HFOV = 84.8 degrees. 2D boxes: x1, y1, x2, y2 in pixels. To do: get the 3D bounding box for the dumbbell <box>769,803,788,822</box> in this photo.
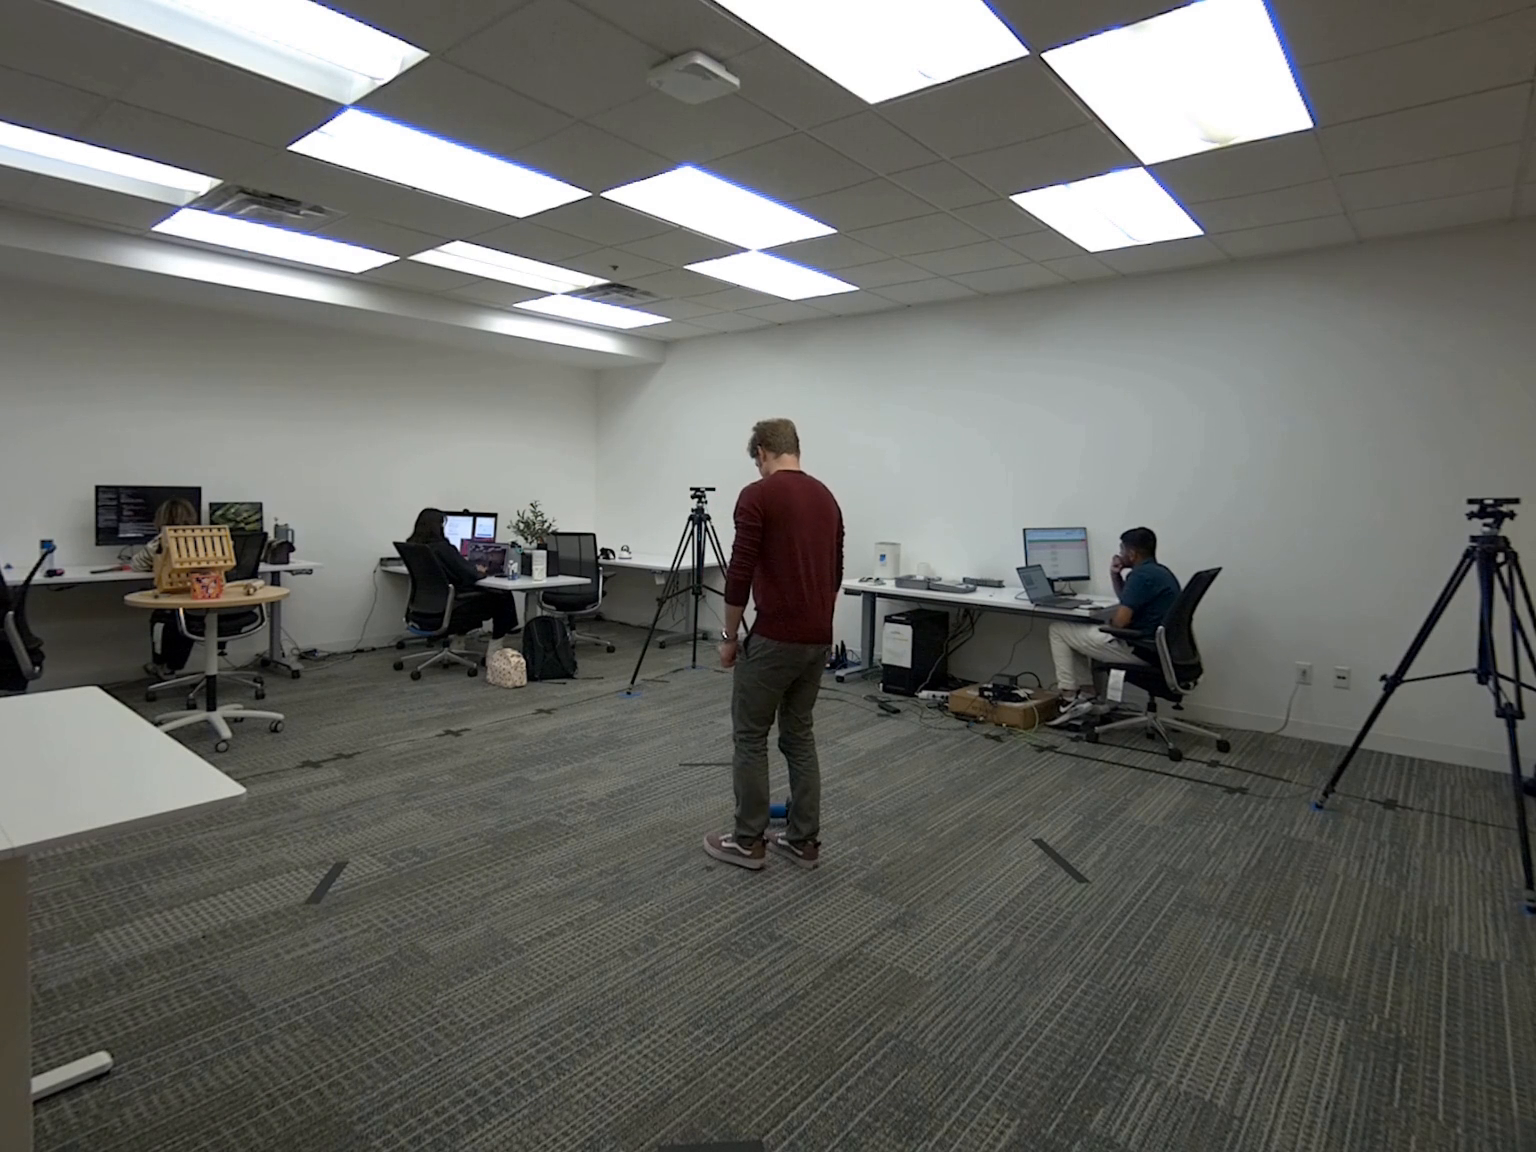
[{"bbox_3d":[0.006,0.970,3.533,0.292,0.120,0.112,1,34,-4],"label":"dumbbell"}]
